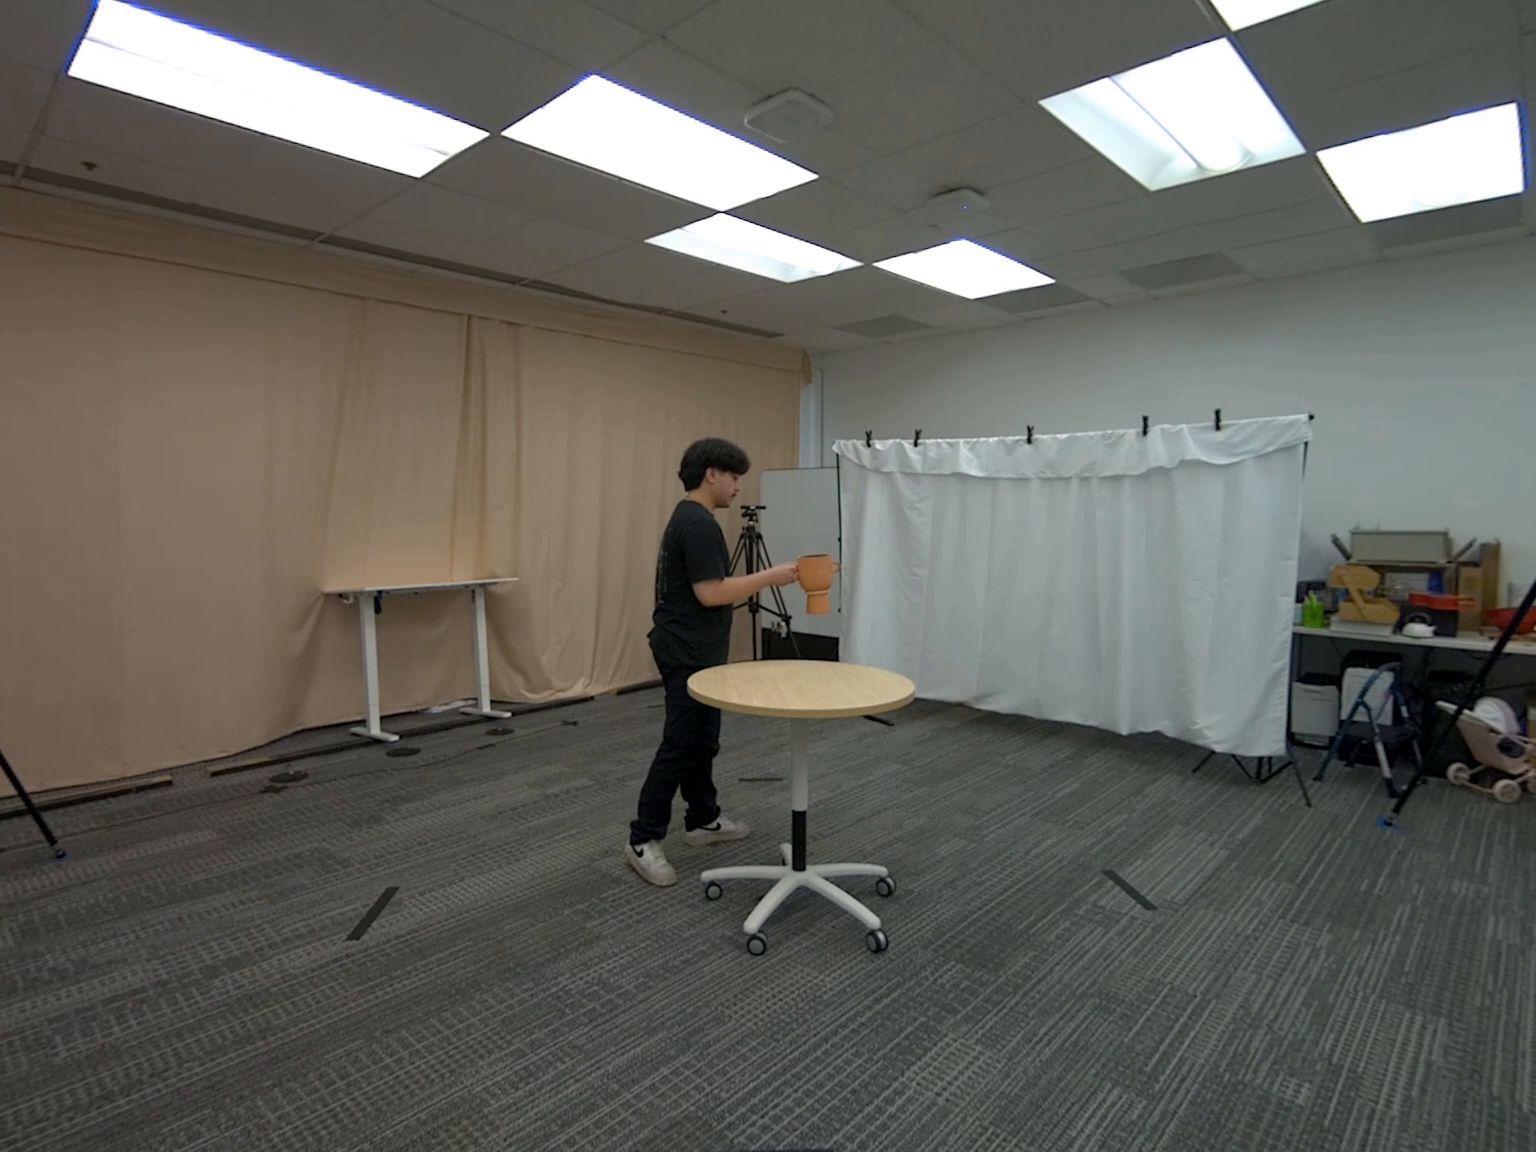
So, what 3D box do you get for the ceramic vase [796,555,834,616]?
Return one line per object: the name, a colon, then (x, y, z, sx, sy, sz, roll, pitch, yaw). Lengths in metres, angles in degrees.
ceramic vase: (0.189, 0.033, 3.240, 0.164, 0.219, 0.131, 1, 7, 37)
